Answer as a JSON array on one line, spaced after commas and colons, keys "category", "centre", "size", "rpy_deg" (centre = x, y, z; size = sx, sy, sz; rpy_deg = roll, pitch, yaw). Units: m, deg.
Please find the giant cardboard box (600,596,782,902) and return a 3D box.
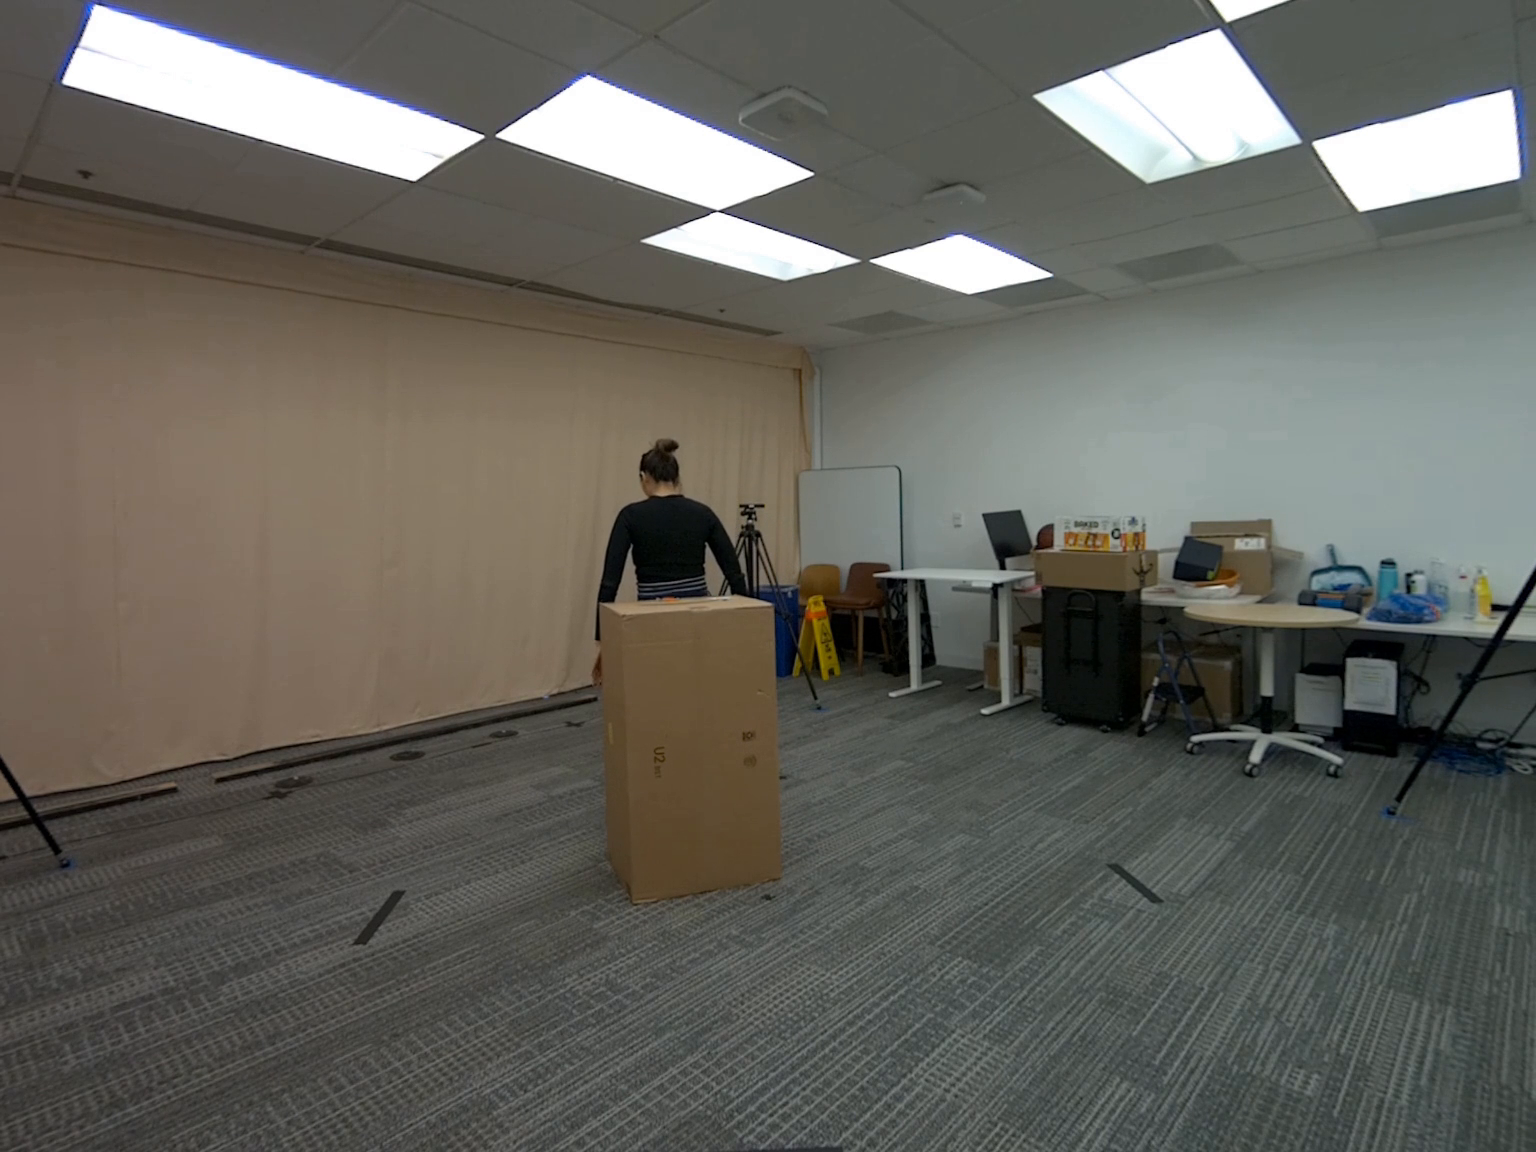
[{"category": "giant cardboard box", "centre": [-0.300, 0.615, 3.208], "size": [0.566, 1.024, 0.436], "rpy_deg": [-3, 3, -20]}]
